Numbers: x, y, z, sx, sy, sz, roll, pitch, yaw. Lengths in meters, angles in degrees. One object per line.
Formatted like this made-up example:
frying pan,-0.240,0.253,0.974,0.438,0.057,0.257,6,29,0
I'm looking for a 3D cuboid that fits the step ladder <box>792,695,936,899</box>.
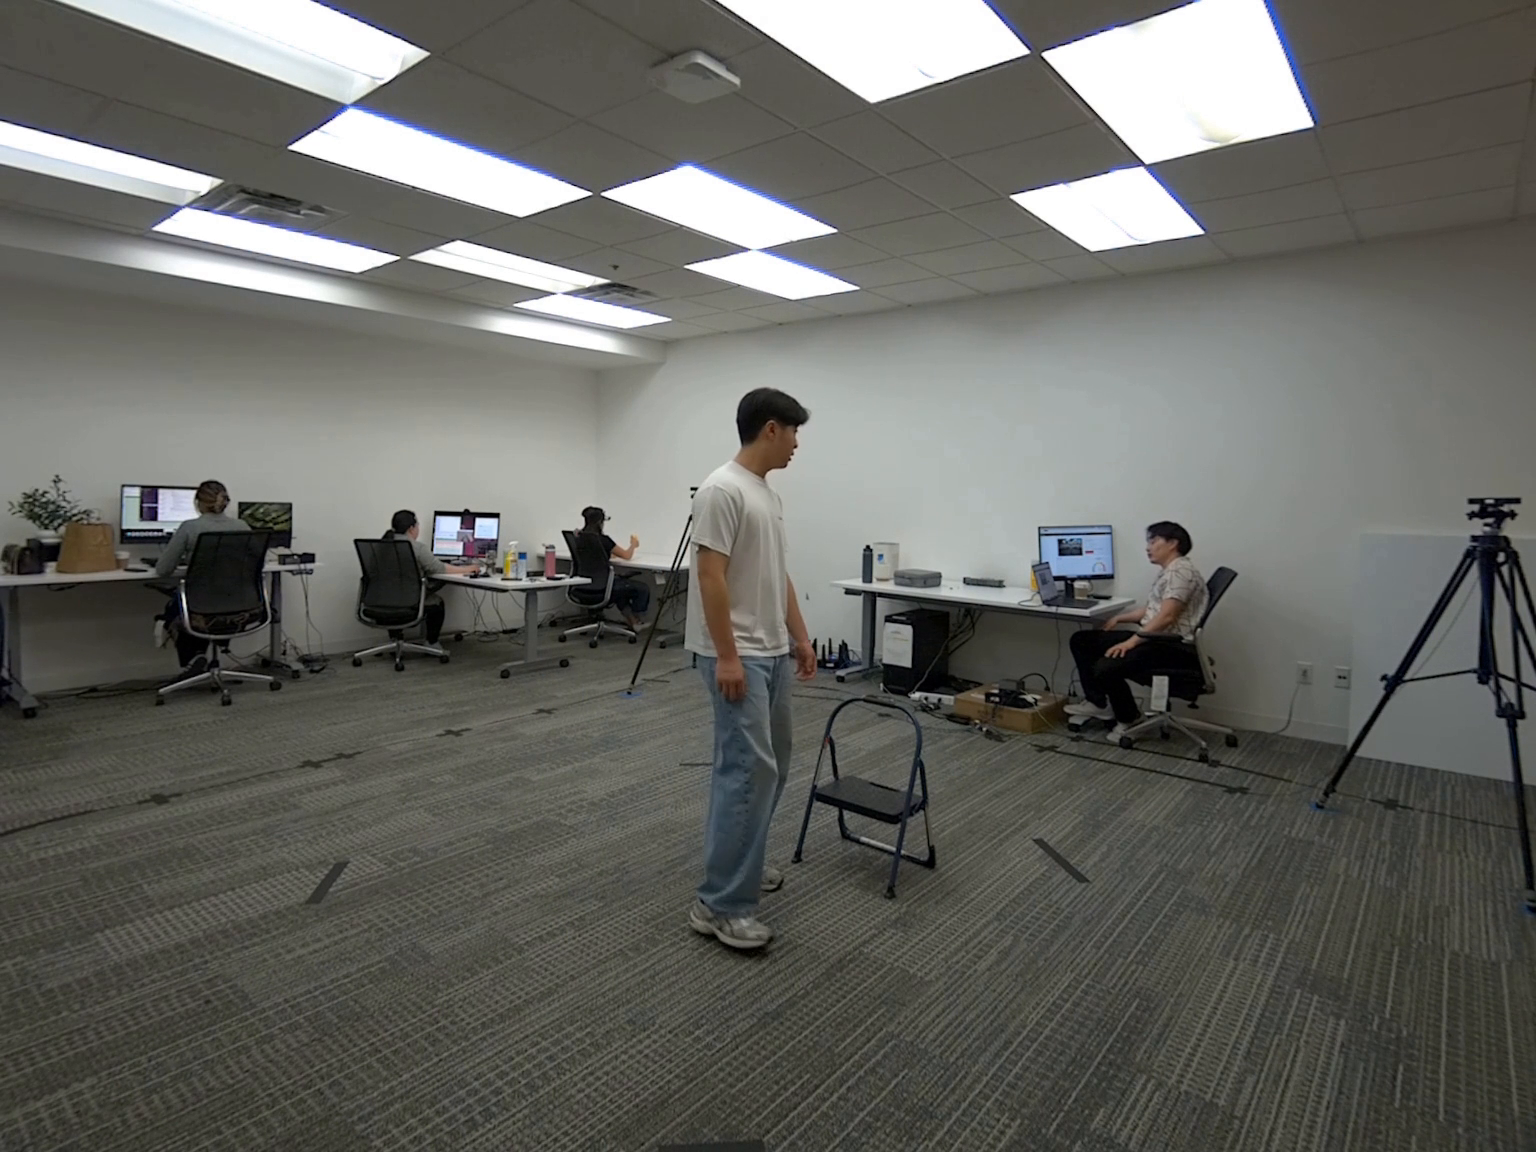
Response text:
step ladder,0.358,0.769,3.157,0.445,0.604,0.339,5,5,39
